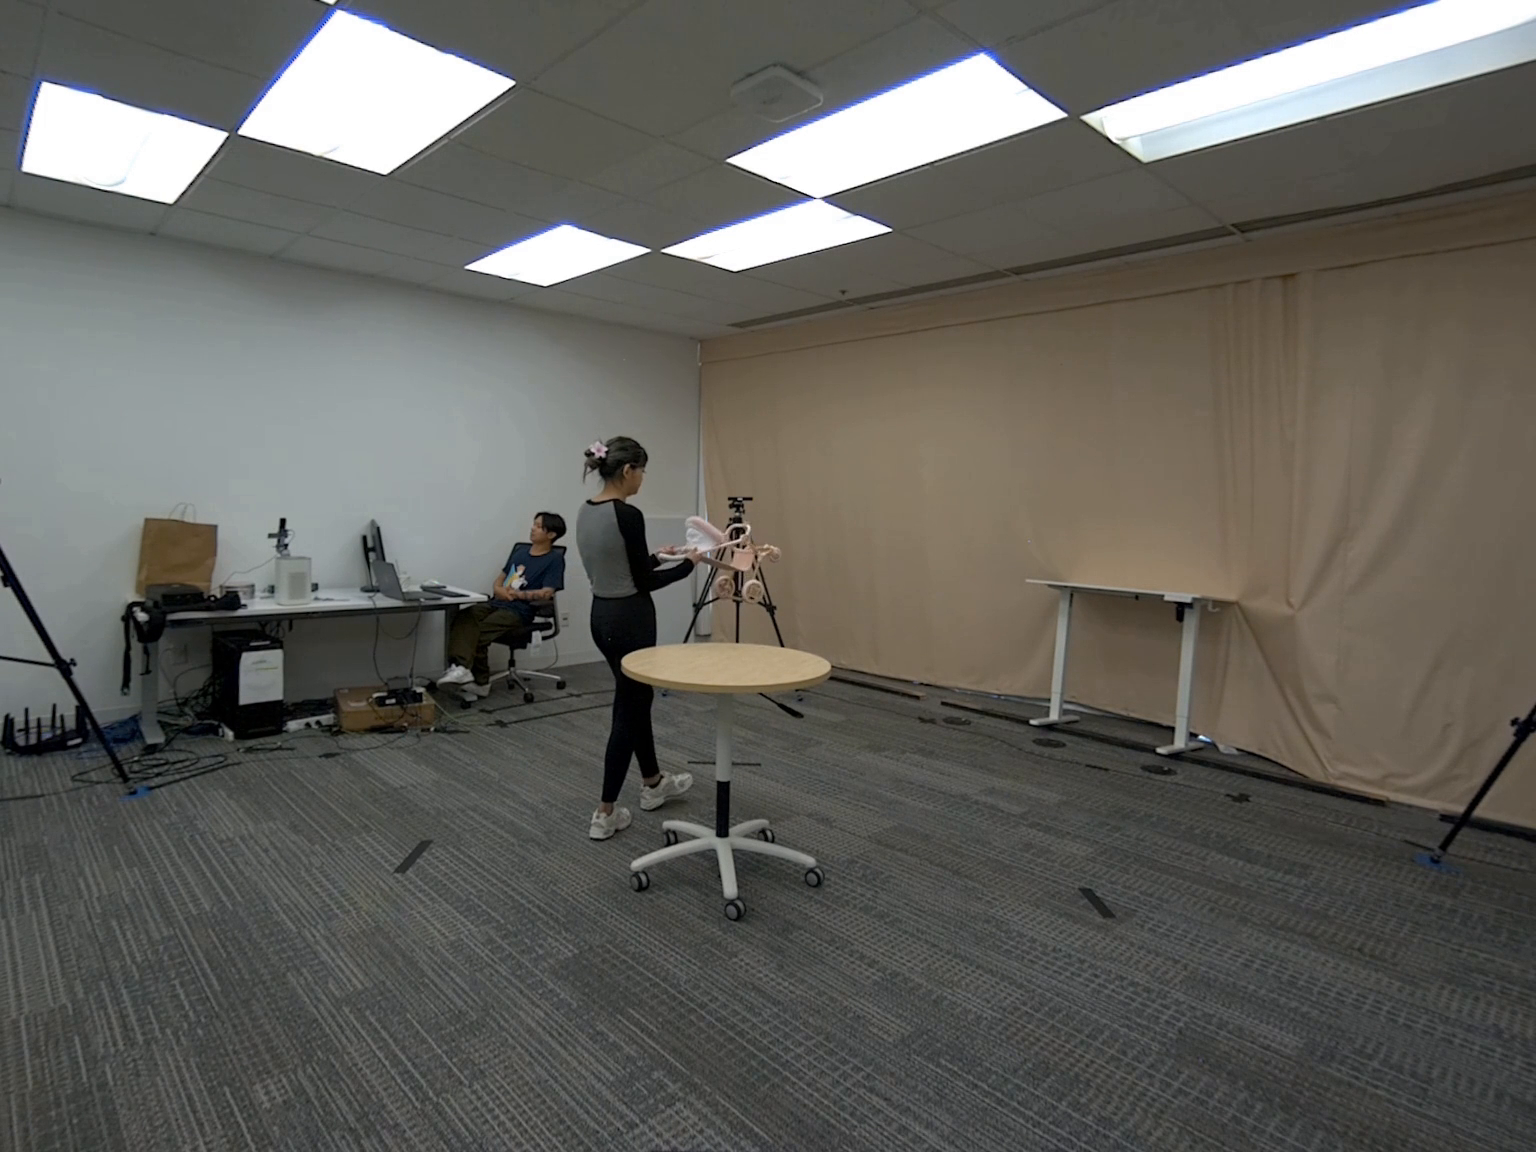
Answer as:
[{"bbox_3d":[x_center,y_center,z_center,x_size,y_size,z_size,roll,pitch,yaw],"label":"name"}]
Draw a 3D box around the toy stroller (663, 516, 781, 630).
[{"bbox_3d":[-0.201,-0.094,3.819,0.521,0.342,0.288,35,-10,-28],"label":"toy stroller"}]
